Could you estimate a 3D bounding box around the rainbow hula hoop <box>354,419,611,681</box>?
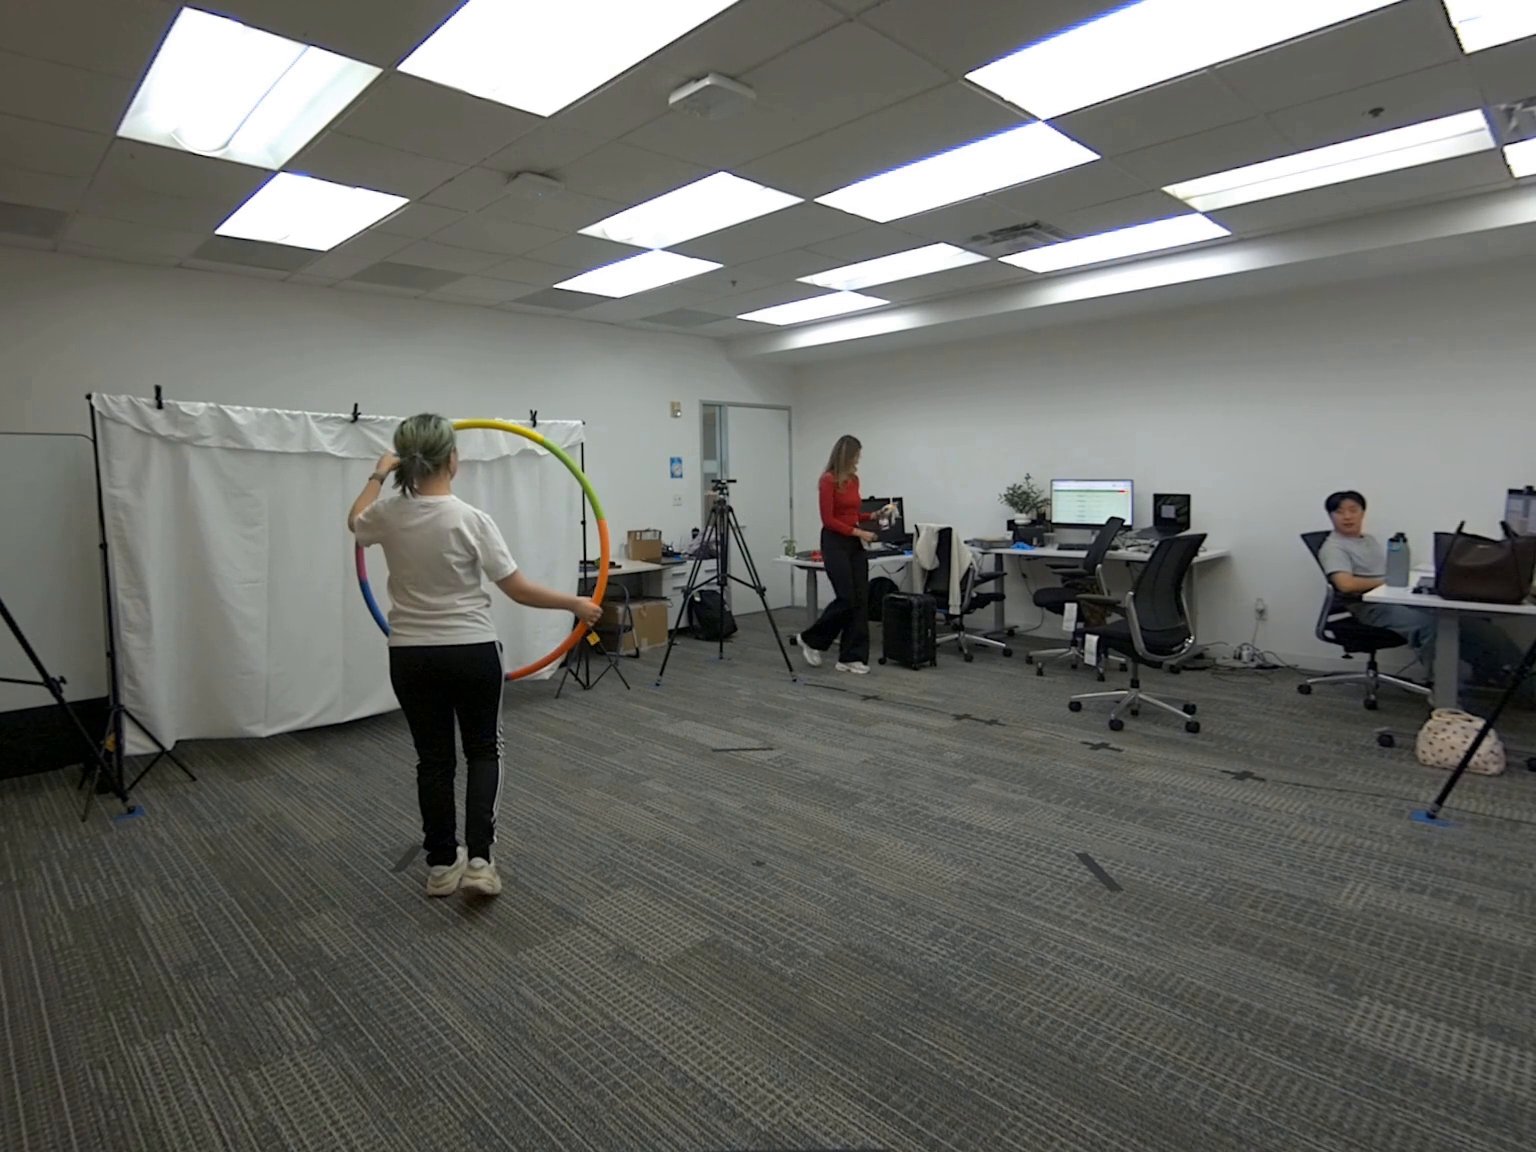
[{"bbox_3d":[-1.078,-0.084,3.193,0.982,0.979,0.035,-1,0,3],"label":"rainbow hula hoop"}]
